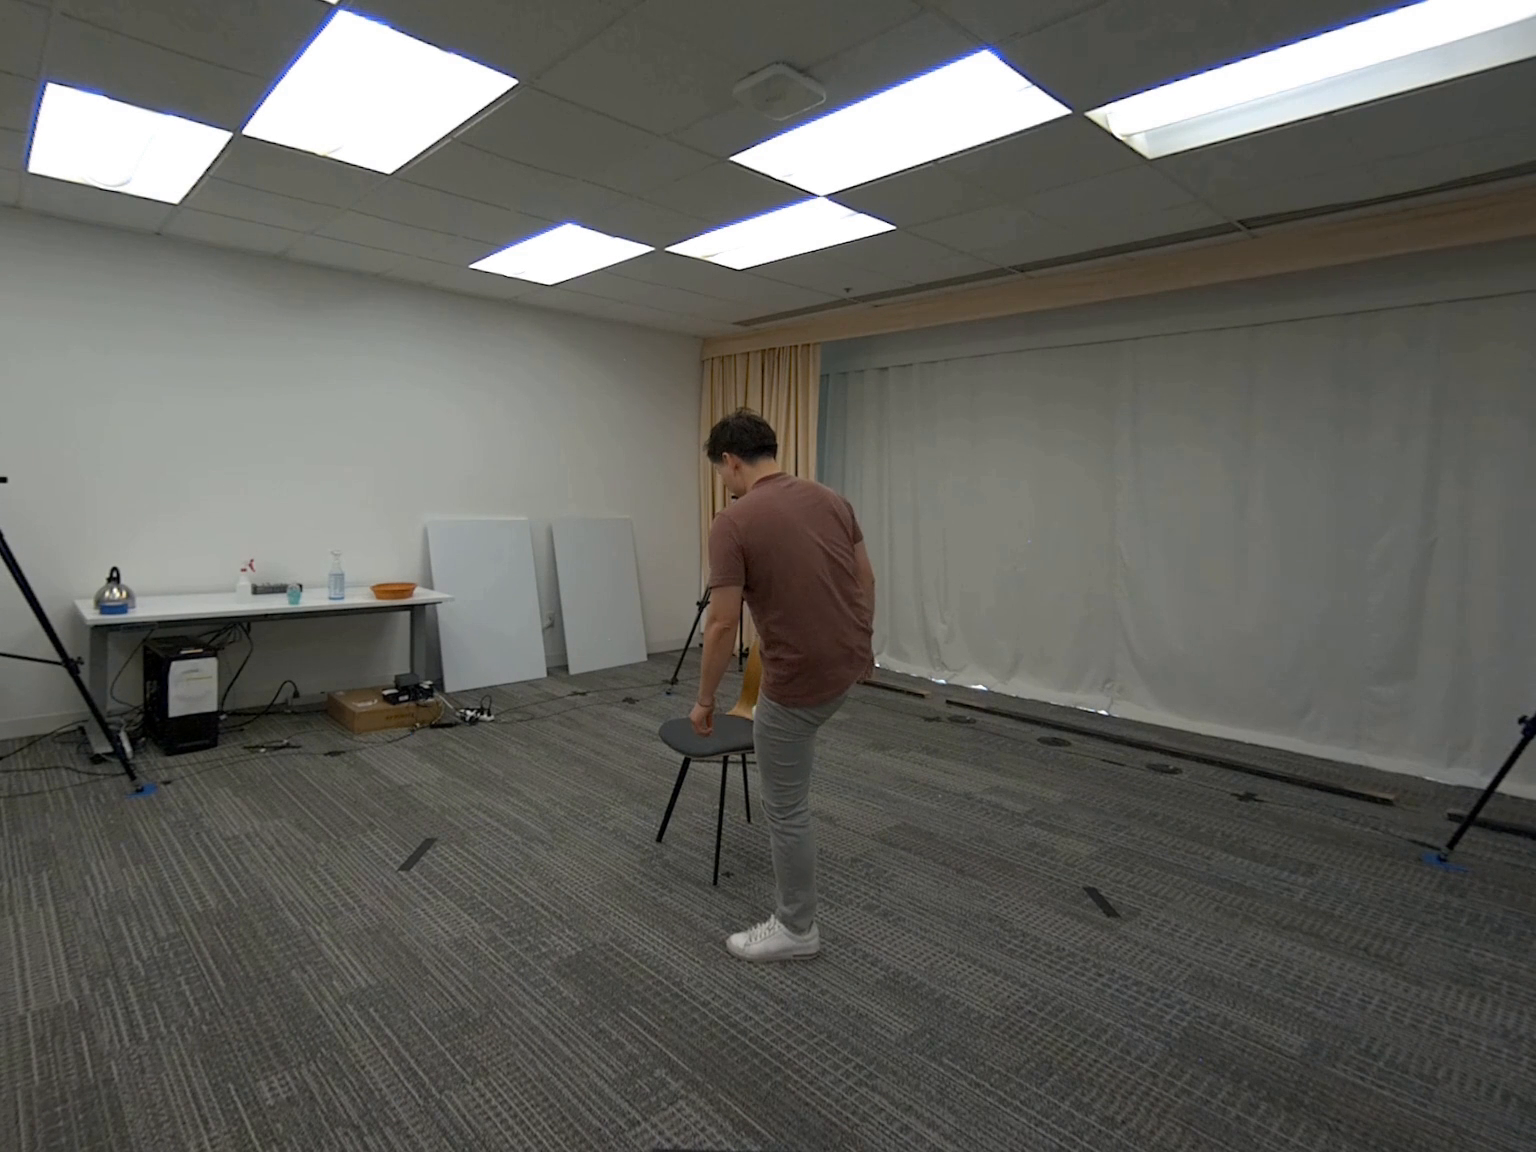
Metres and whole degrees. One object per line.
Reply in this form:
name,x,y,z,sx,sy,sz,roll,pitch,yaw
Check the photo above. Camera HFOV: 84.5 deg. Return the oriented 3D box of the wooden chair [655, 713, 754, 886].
wooden chair,-0.138,0.659,3.281,0.511,0.877,0.489,5,1,-34
